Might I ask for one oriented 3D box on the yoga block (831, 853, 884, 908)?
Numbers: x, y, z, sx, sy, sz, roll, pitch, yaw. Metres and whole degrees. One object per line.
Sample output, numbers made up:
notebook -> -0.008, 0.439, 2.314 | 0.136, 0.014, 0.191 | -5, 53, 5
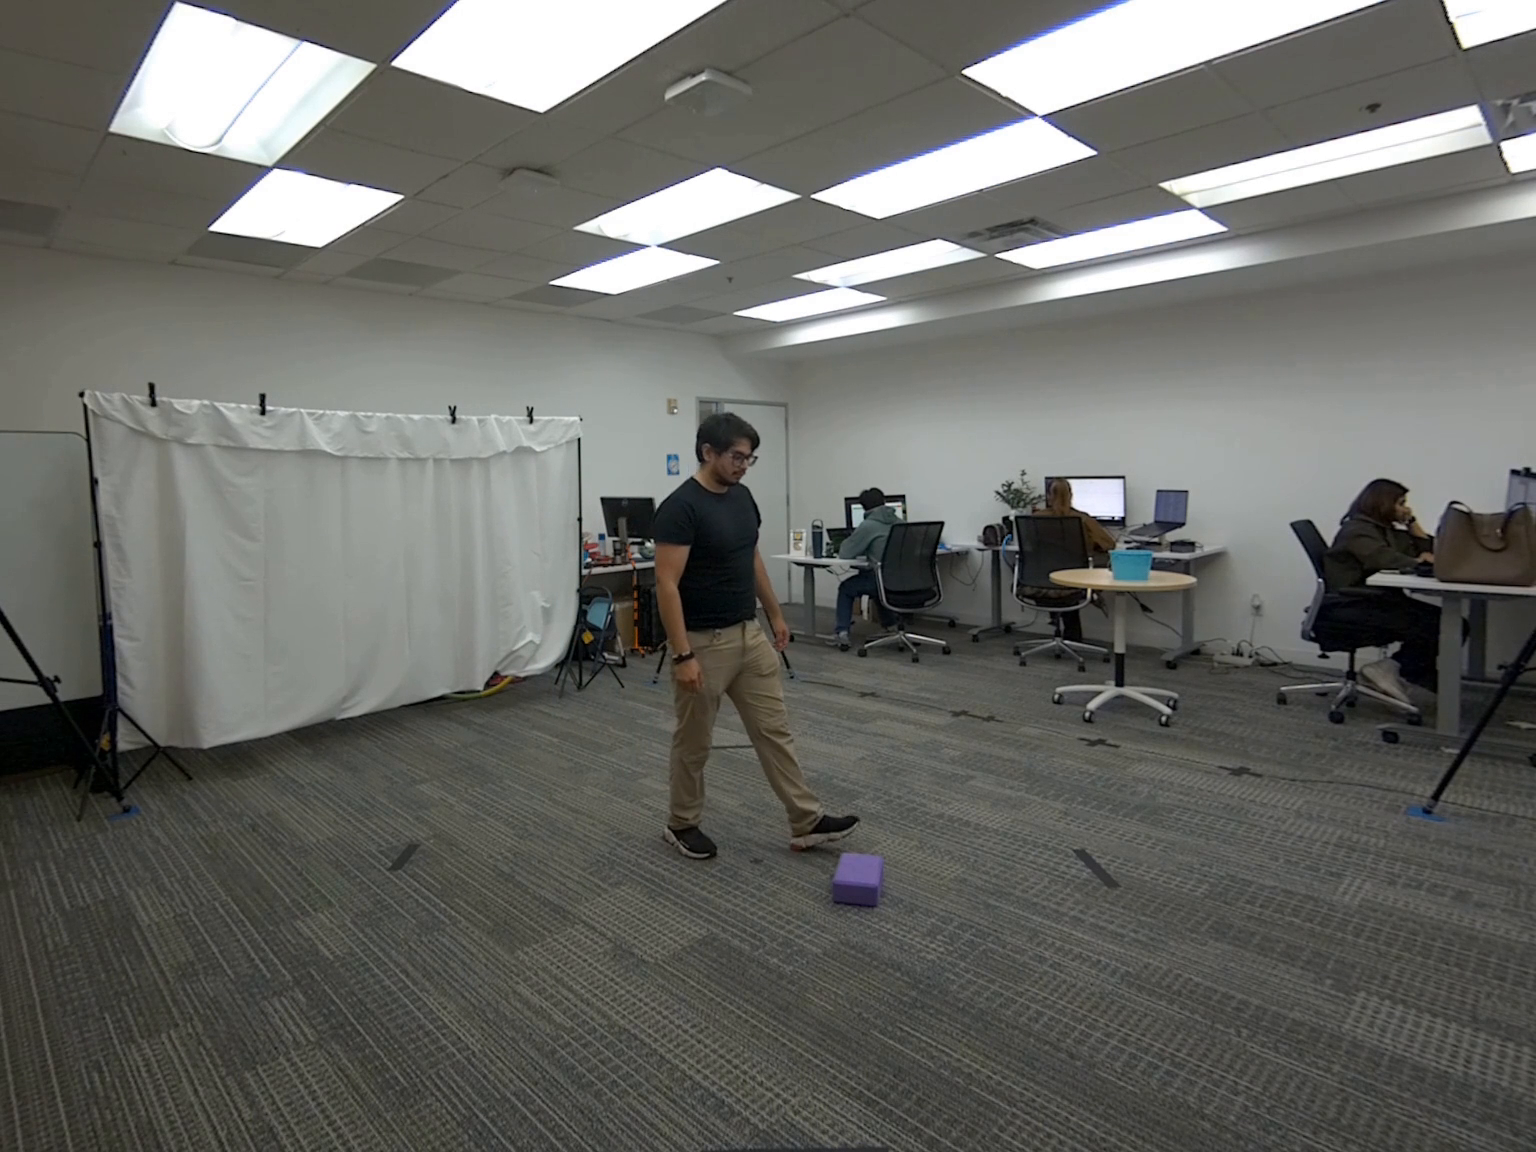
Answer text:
yoga block -> 0.305, 1.012, 2.881 | 0.151, 0.076, 0.227 | -1, 6, 14
